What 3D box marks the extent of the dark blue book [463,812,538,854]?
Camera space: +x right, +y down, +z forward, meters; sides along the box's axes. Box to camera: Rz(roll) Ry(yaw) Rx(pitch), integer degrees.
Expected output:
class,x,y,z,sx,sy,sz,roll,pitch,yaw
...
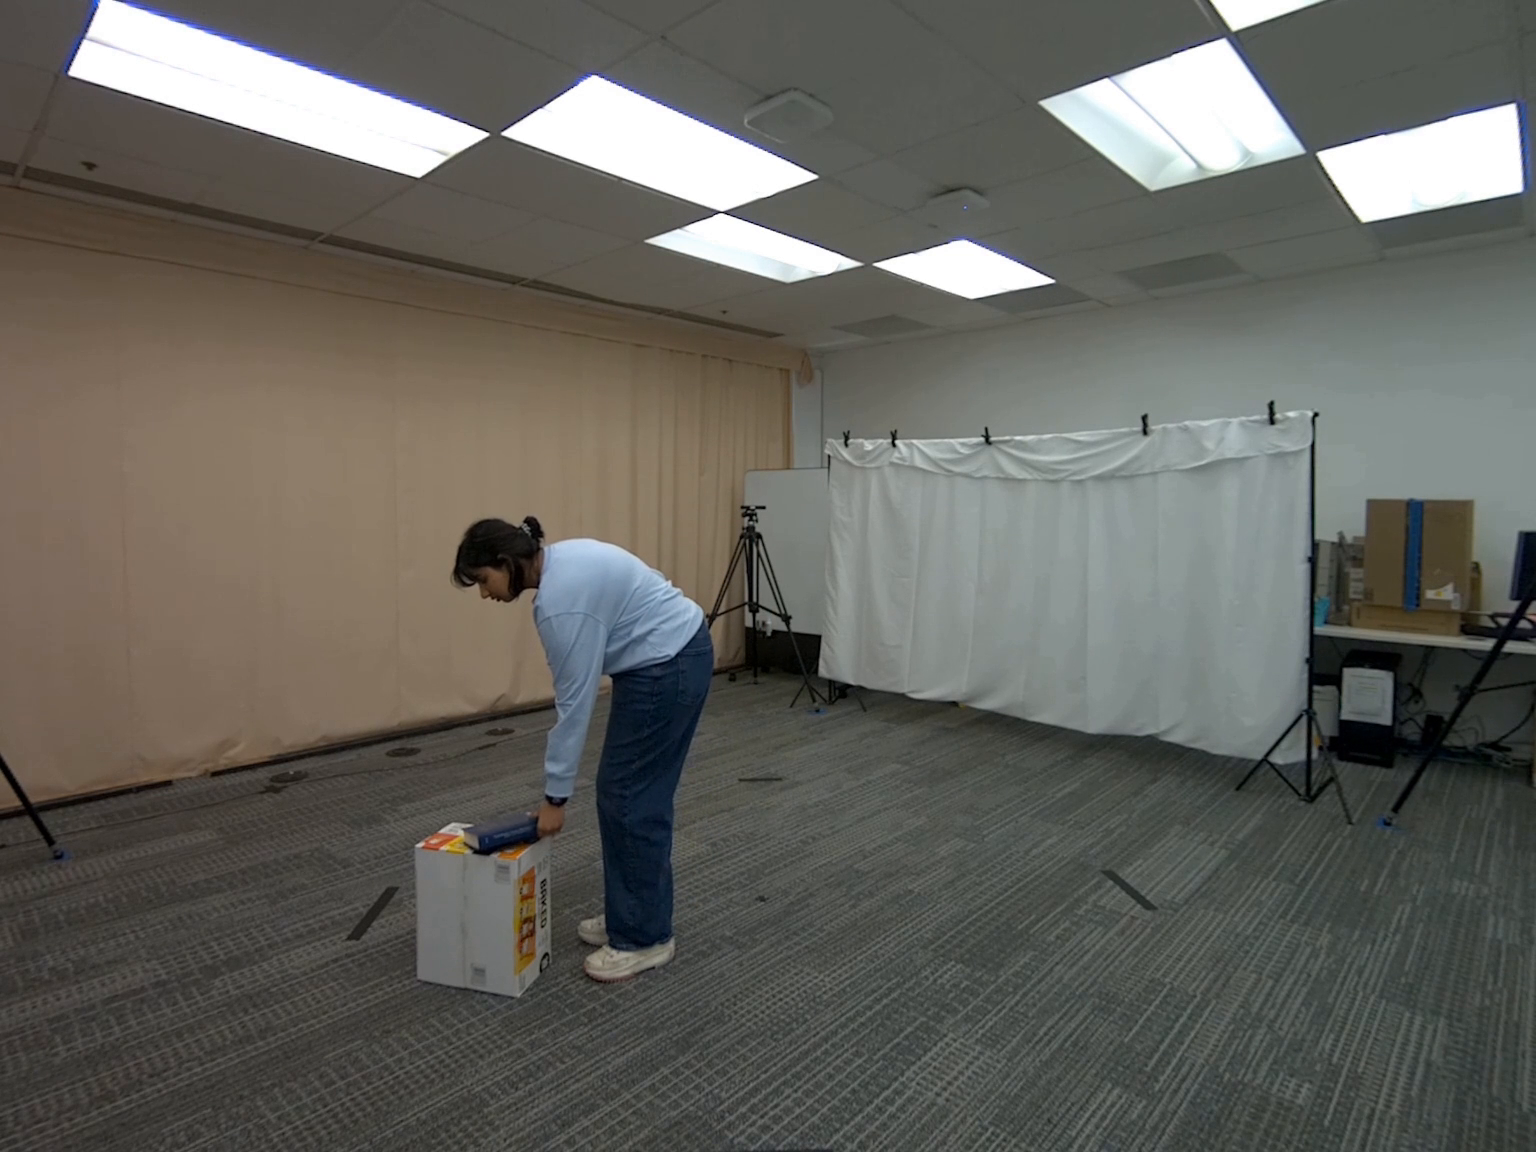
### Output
class,x,y,z,sx,sy,sz,roll,pitch,yaw
dark blue book,-0.766,0.751,2.492,0.238,0.045,0.167,-6,-4,-35
